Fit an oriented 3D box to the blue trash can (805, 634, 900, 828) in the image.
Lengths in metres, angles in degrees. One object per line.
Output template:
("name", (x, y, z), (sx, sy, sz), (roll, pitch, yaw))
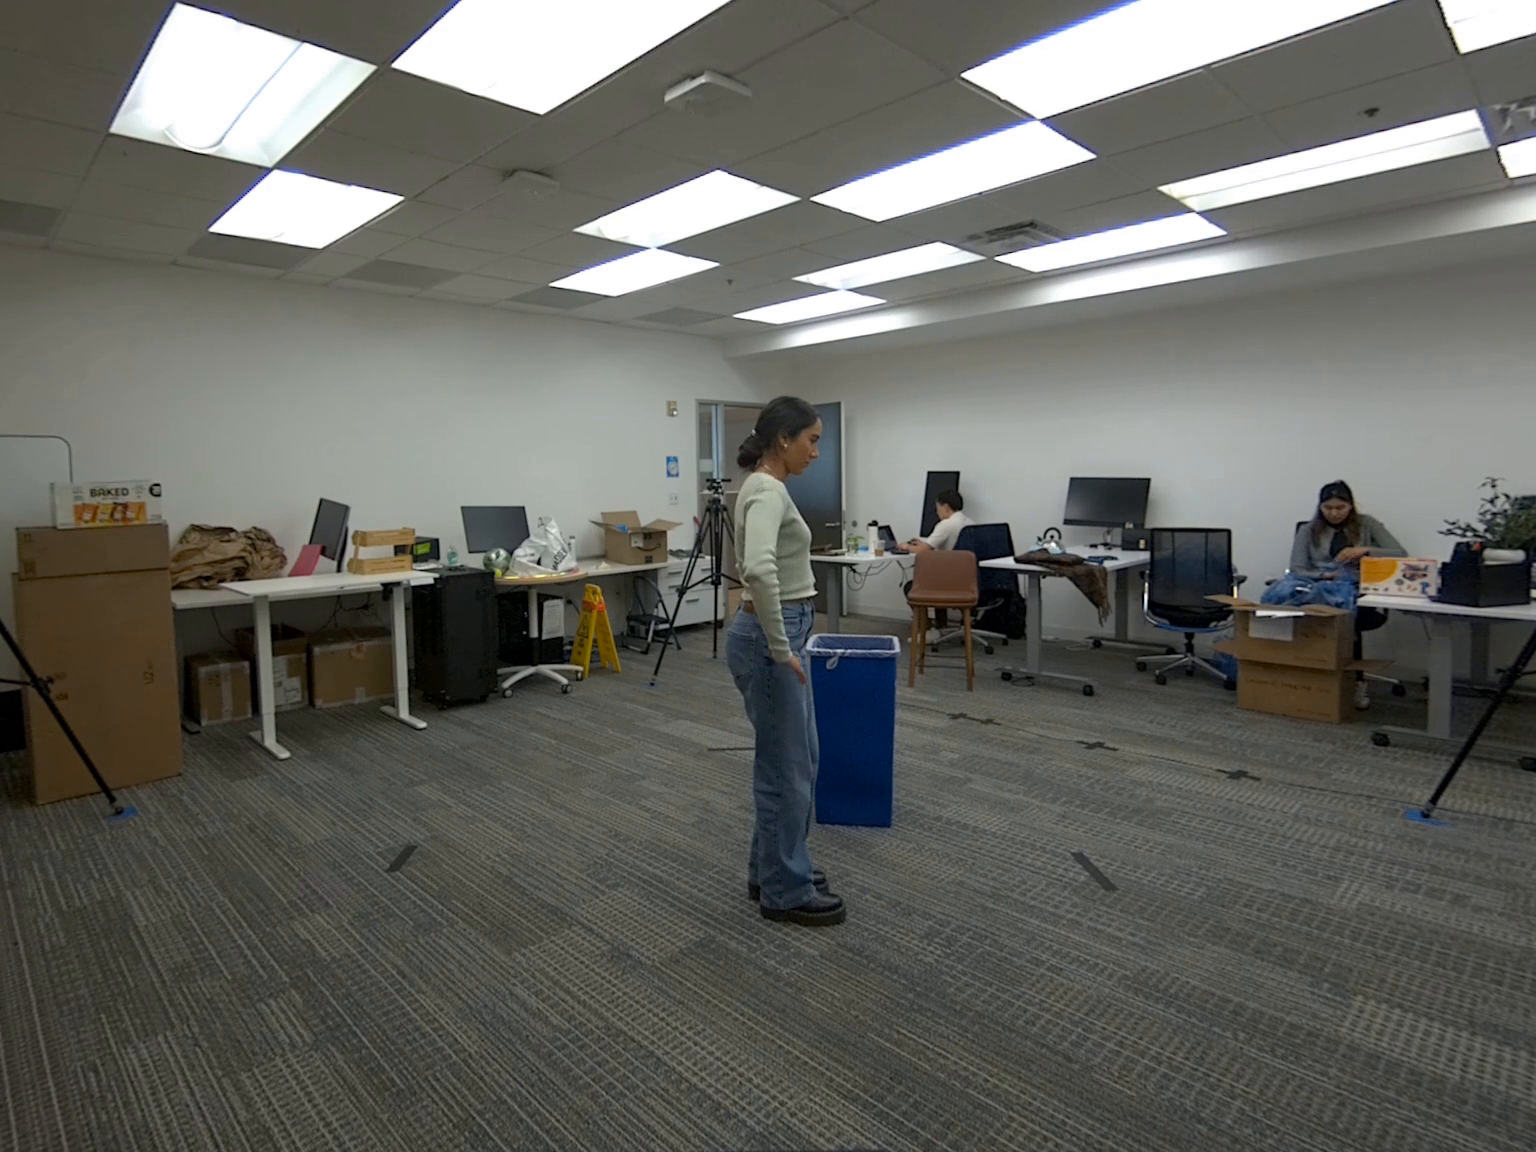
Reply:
("blue trash can", (0.371, 0.630, 3.559), (0.377, 0.711, 0.376), (0, 3, 8))
